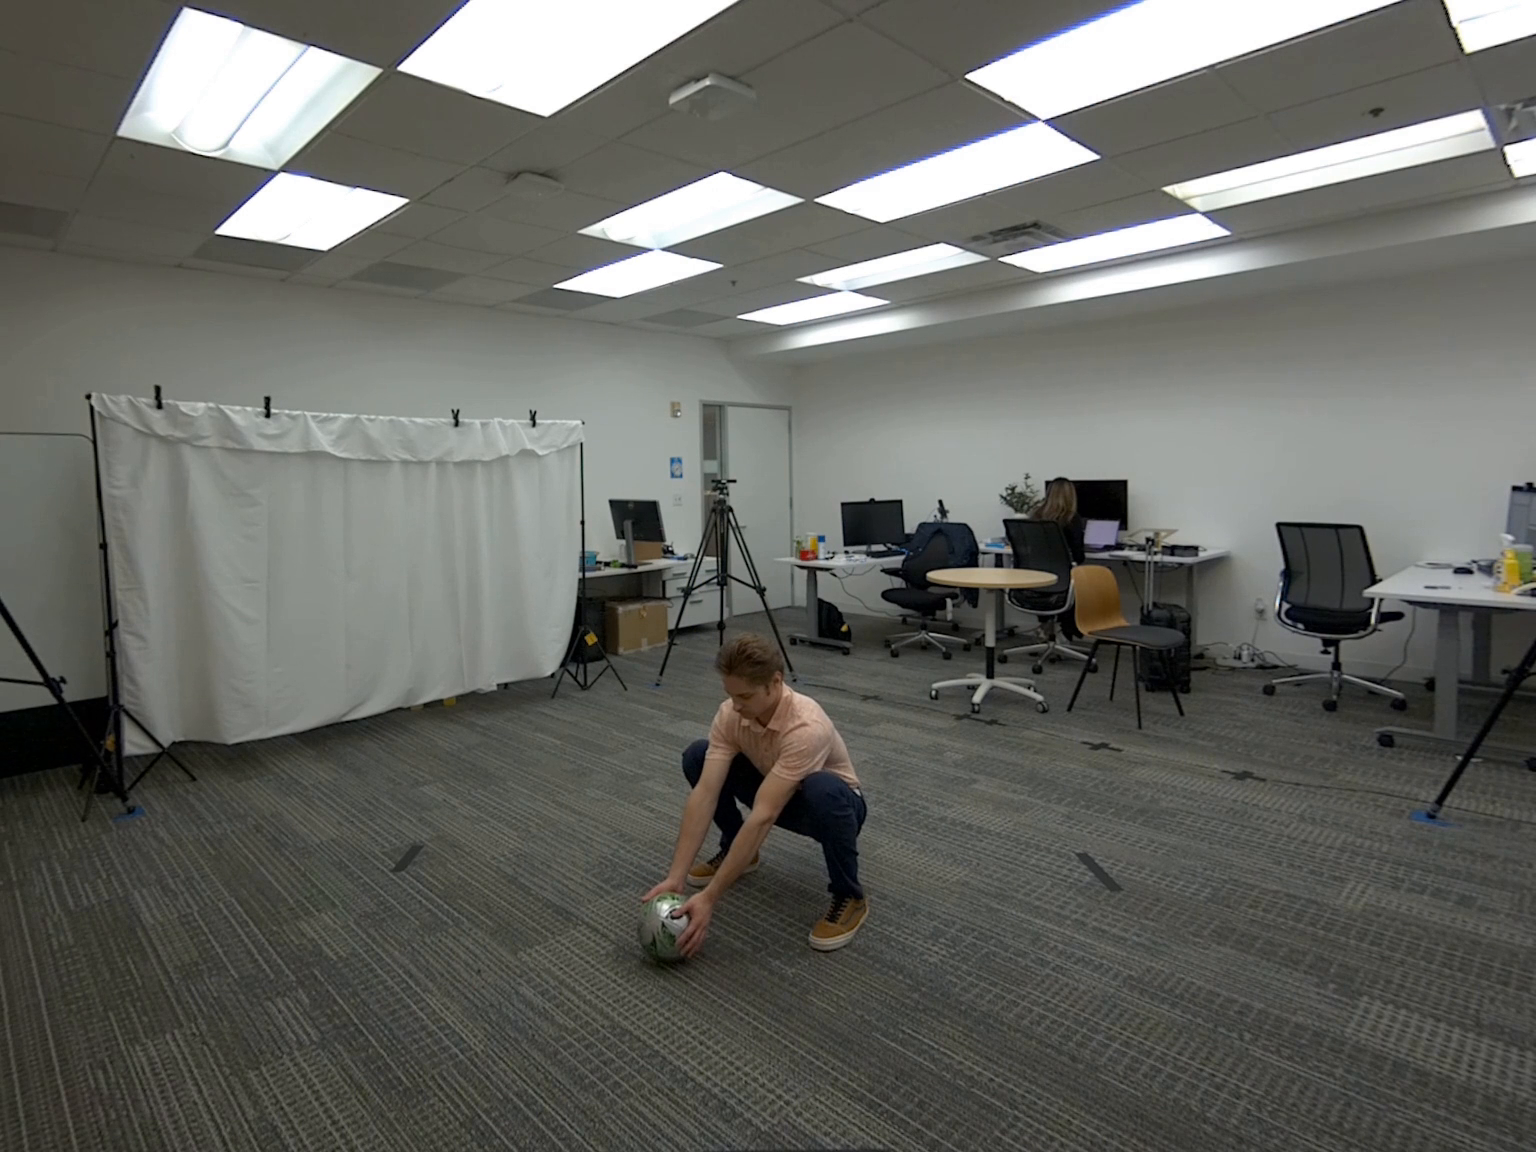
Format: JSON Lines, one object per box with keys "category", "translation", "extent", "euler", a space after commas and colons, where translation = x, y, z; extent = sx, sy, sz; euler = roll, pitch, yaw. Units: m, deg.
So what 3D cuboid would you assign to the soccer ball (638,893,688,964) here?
{"category": "soccer ball", "translation": [-0.289, 1.033, 2.500], "extent": [0.187, 0.187, 0.188], "euler": [-1, 5, -2]}
